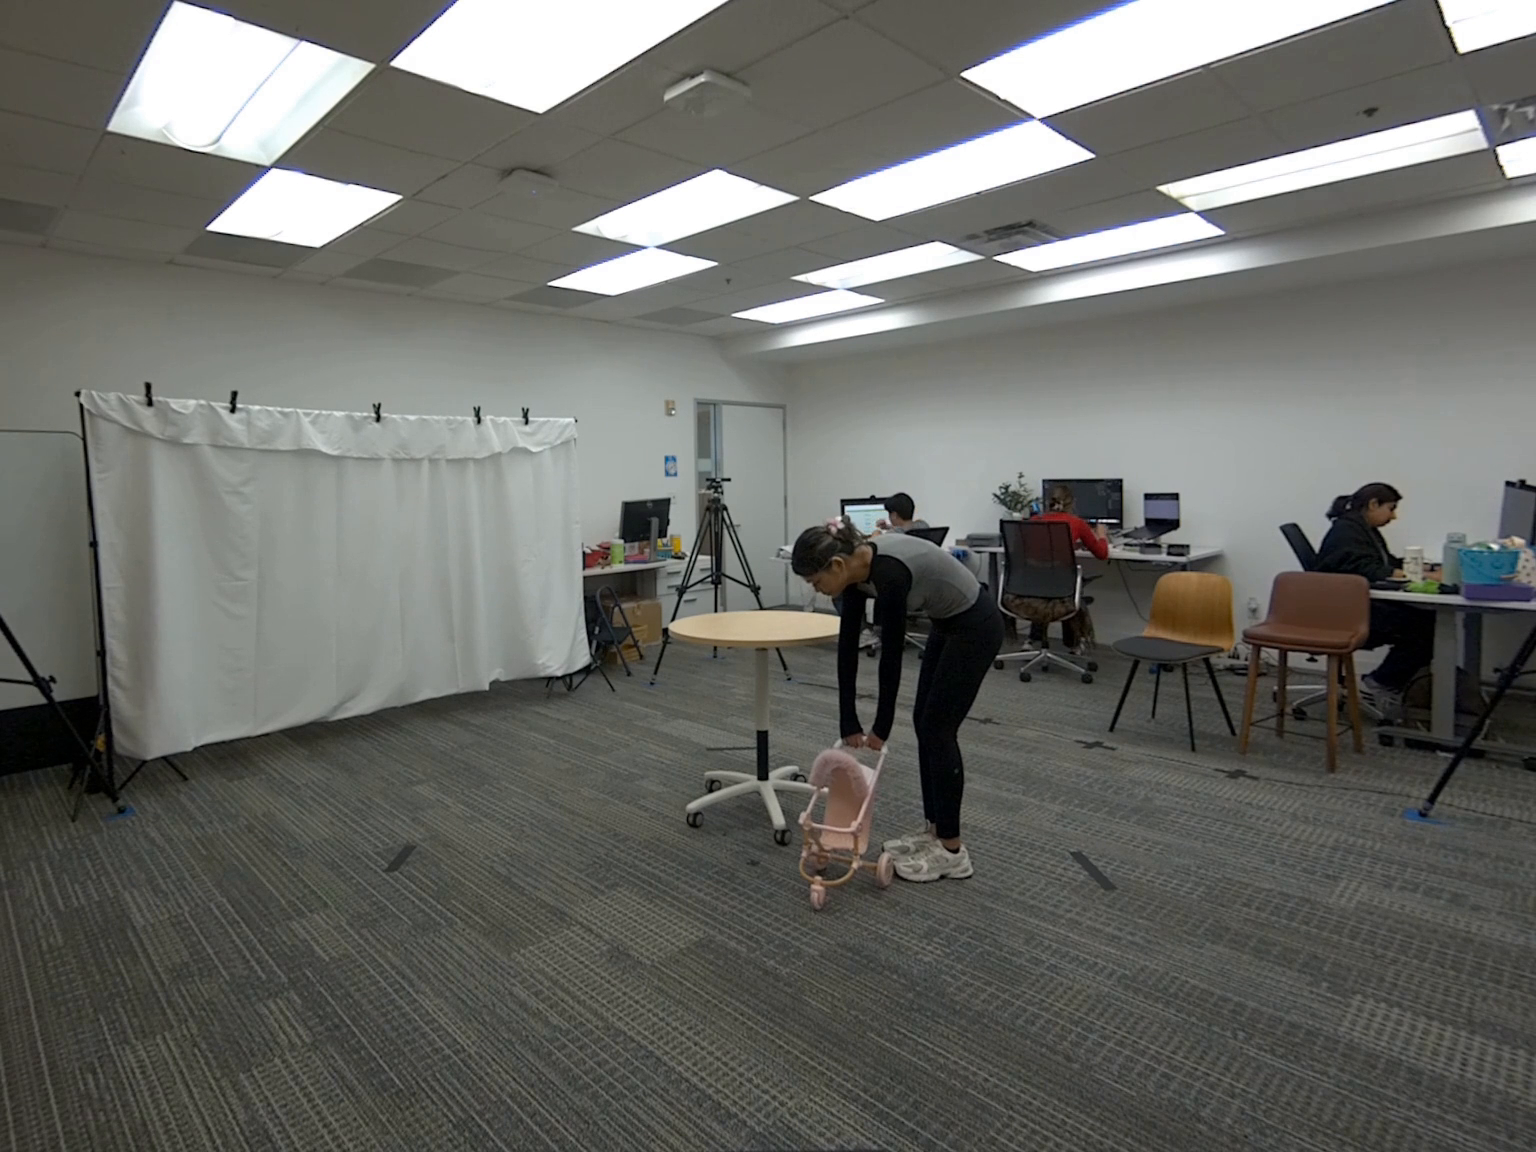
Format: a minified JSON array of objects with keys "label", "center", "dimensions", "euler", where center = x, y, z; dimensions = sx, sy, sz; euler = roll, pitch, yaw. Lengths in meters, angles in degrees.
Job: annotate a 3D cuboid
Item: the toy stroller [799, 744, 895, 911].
[{"label":"toy stroller","center":[0.246,0.830,2.902],"dimensions":[0.289,0.538,0.330],"euler":[-1,-8,37]}]
